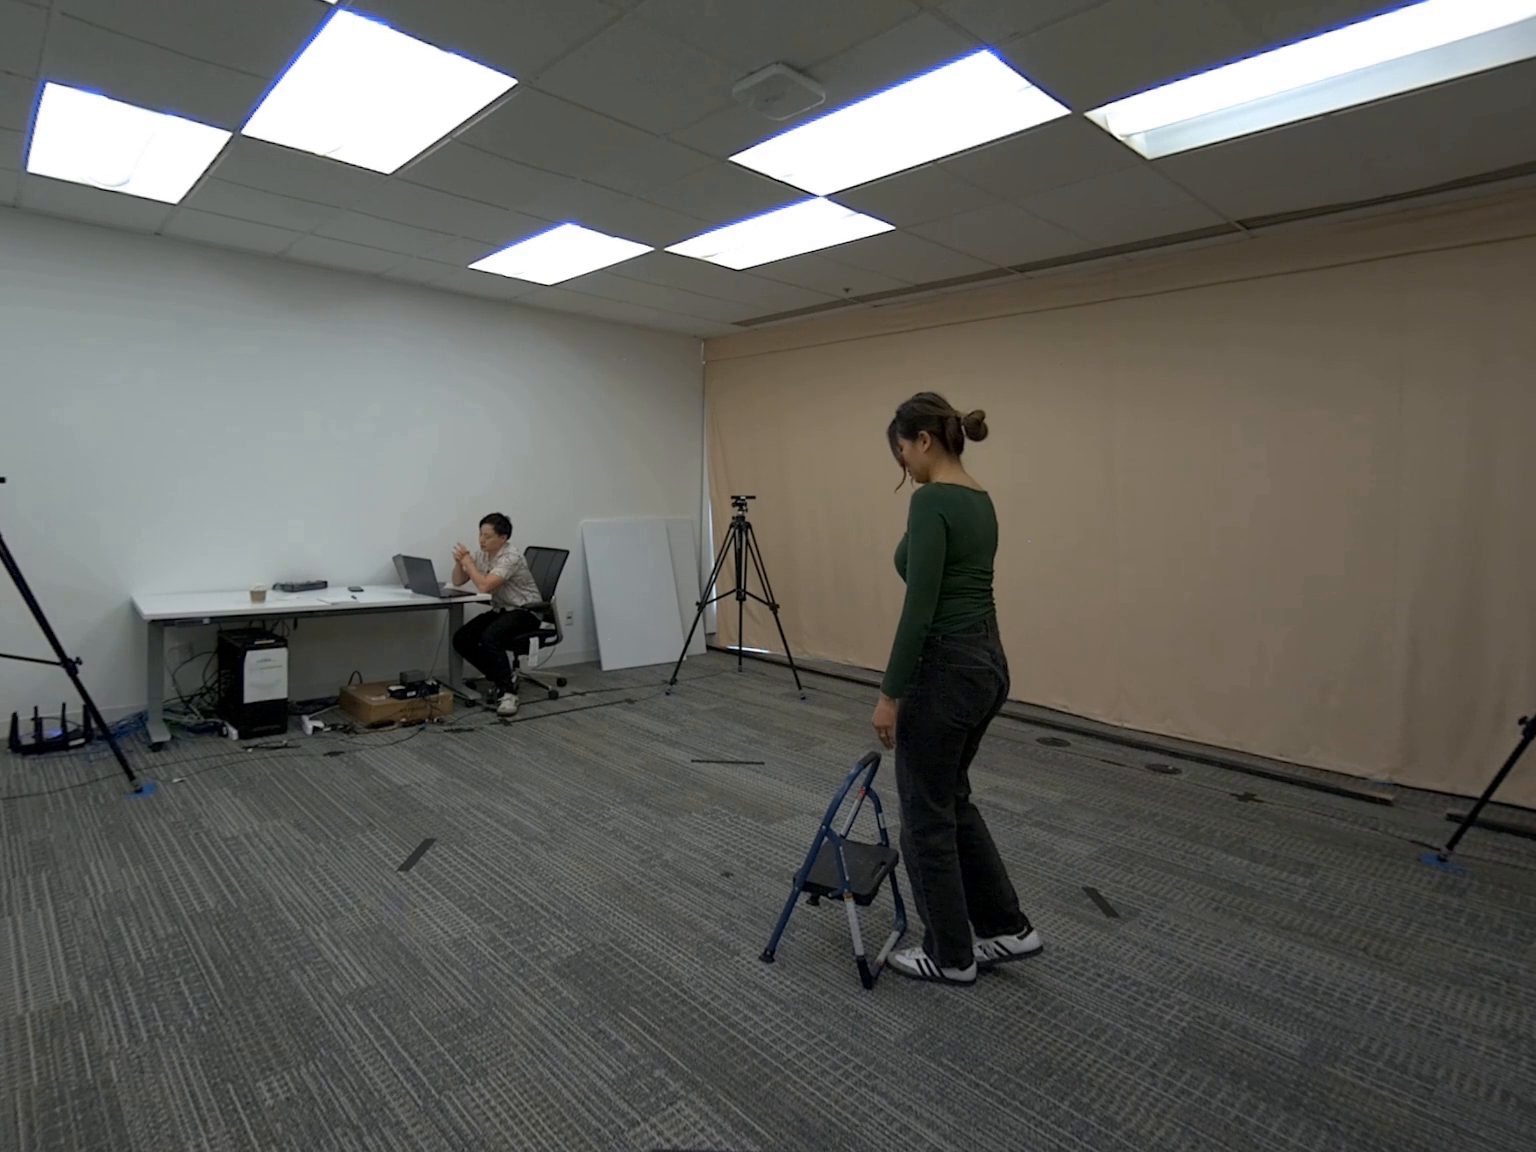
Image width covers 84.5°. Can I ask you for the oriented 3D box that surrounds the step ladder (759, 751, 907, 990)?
[{"bbox_3d":[0.221,0.852,2.627,0.356,0.604,0.423,3,5,24],"label":"step ladder"}]
